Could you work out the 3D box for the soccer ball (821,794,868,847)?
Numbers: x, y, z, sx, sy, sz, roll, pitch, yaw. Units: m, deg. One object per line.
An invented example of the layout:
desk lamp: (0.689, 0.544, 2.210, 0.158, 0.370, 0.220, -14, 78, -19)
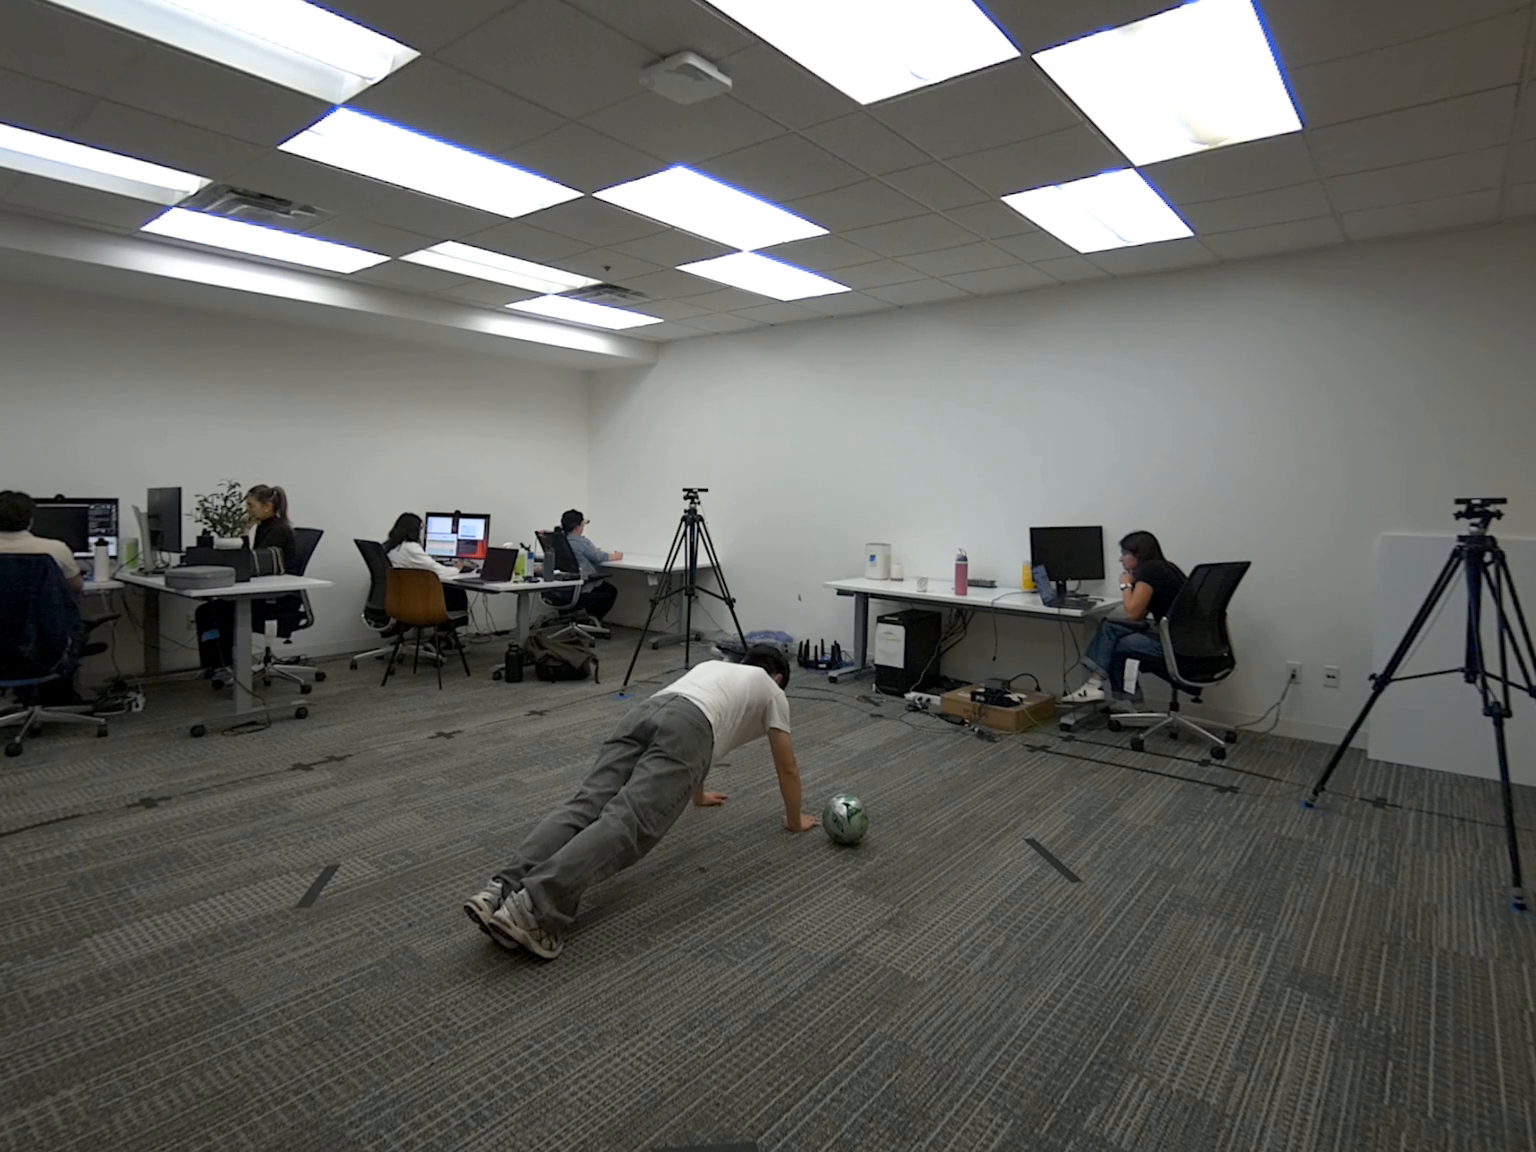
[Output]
soccer ball: (0.311, 0.958, 3.375, 0.187, 0.187, 0.188, 1, 4, -2)
